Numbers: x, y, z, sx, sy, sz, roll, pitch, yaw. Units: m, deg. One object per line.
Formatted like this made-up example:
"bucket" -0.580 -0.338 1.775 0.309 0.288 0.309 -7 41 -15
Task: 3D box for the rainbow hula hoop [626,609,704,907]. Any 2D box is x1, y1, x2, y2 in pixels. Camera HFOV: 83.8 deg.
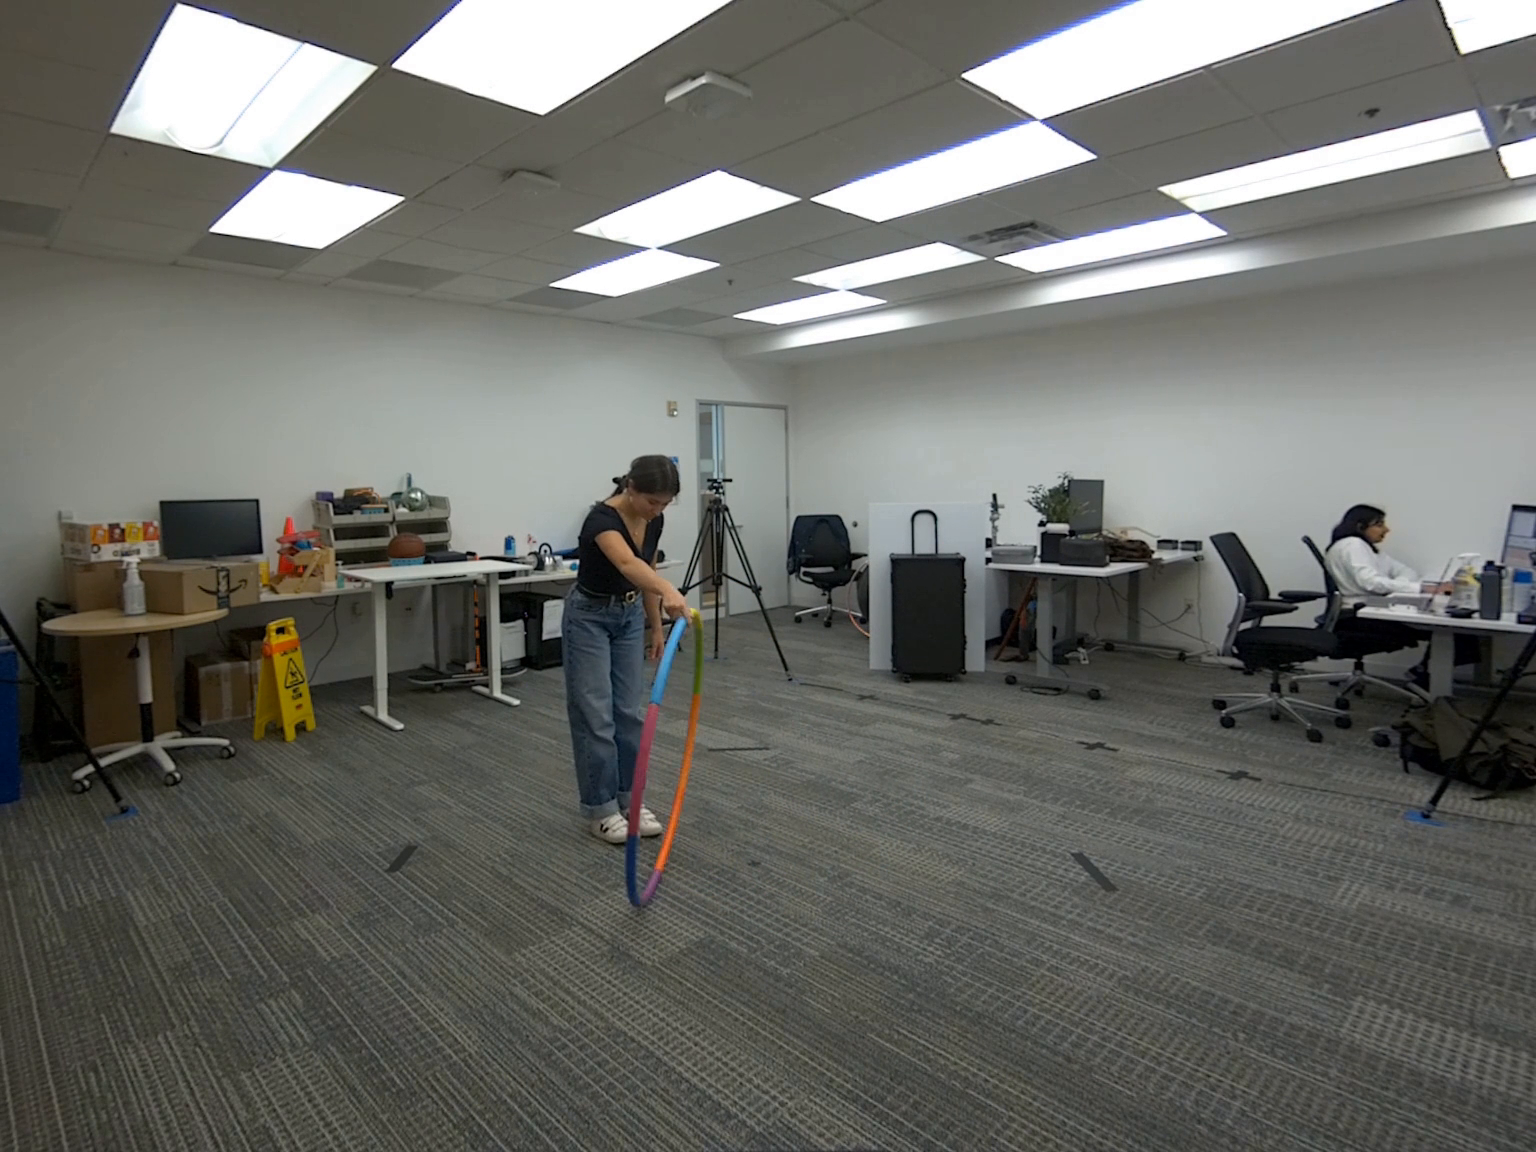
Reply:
"rainbow hula hoop" -0.330 0.600 2.887 0.036 0.975 0.977 9 6 3
